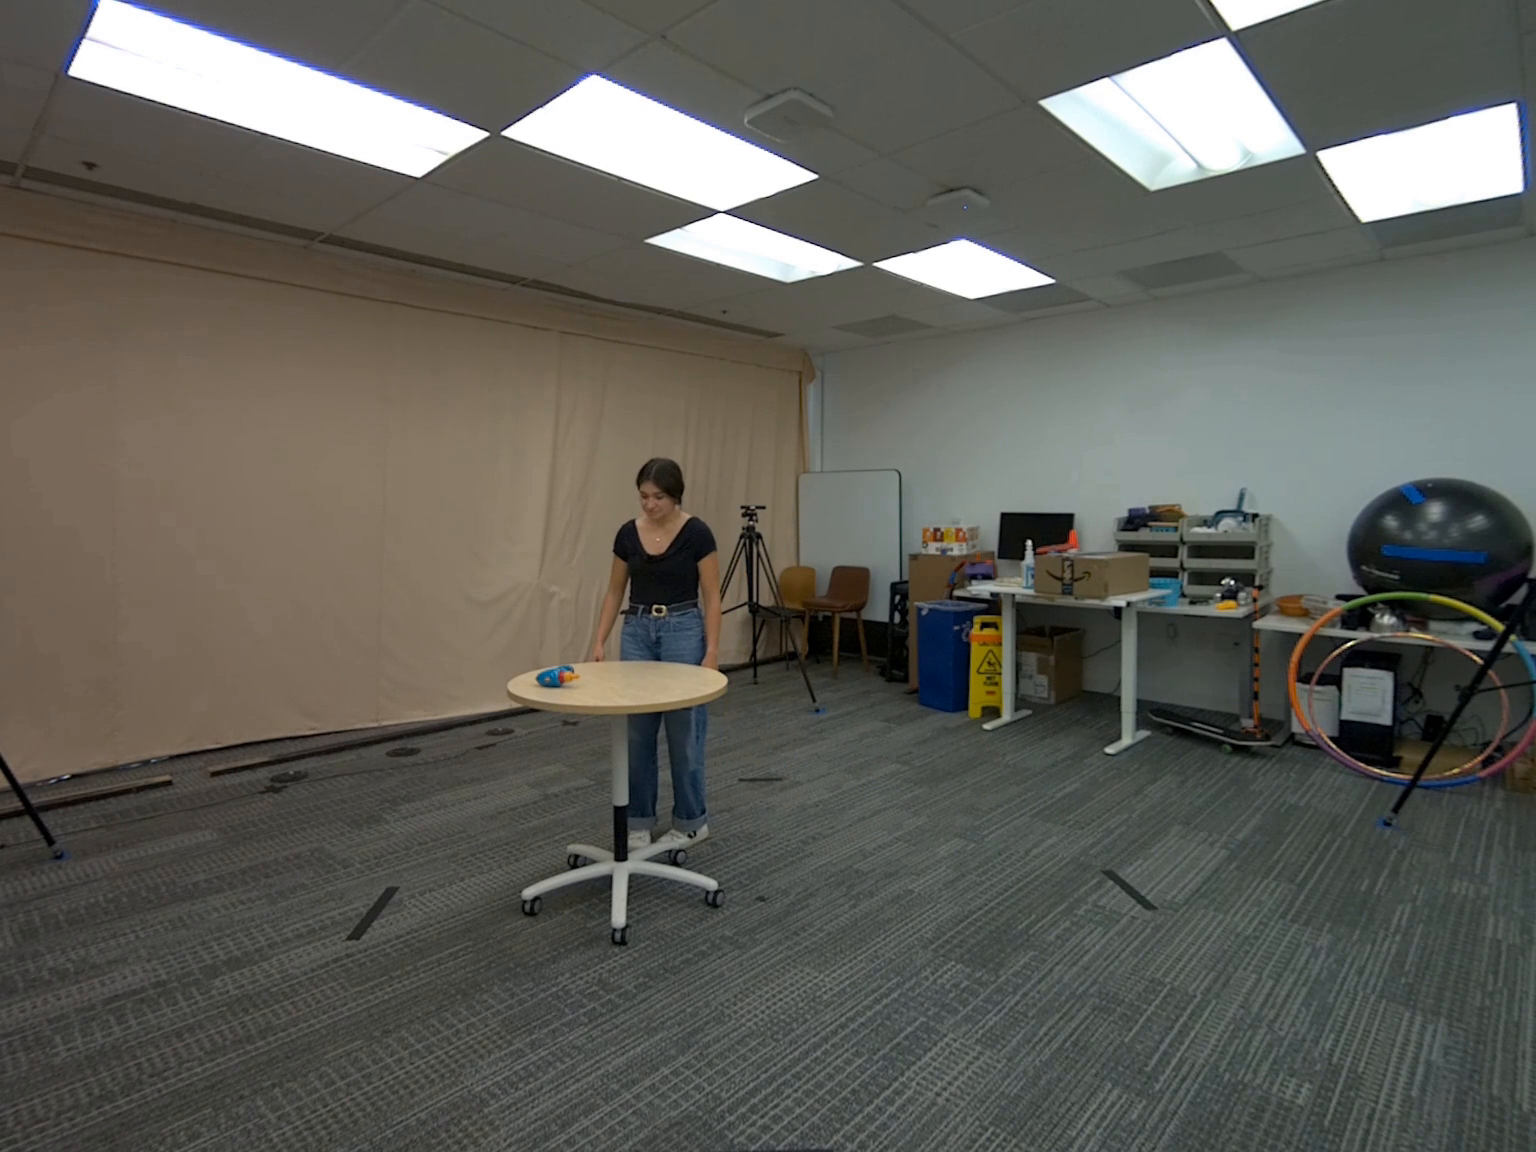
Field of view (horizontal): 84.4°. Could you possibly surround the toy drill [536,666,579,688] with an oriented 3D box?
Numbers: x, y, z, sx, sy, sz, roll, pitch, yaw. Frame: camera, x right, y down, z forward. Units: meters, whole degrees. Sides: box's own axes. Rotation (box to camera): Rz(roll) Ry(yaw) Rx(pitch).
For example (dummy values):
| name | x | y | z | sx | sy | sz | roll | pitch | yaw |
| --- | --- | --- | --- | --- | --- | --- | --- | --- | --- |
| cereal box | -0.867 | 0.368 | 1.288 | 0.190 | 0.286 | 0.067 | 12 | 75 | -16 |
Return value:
| name | x | y | z | sx | sy | sz | roll | pitch | yaw |
| --- | --- | --- | --- | --- | --- | --- | --- | --- | --- |
| toy drill | -0.710 | 0.343 | 2.885 | 0.173 | 0.061 | 0.143 | -7 | 1 | 19 |
